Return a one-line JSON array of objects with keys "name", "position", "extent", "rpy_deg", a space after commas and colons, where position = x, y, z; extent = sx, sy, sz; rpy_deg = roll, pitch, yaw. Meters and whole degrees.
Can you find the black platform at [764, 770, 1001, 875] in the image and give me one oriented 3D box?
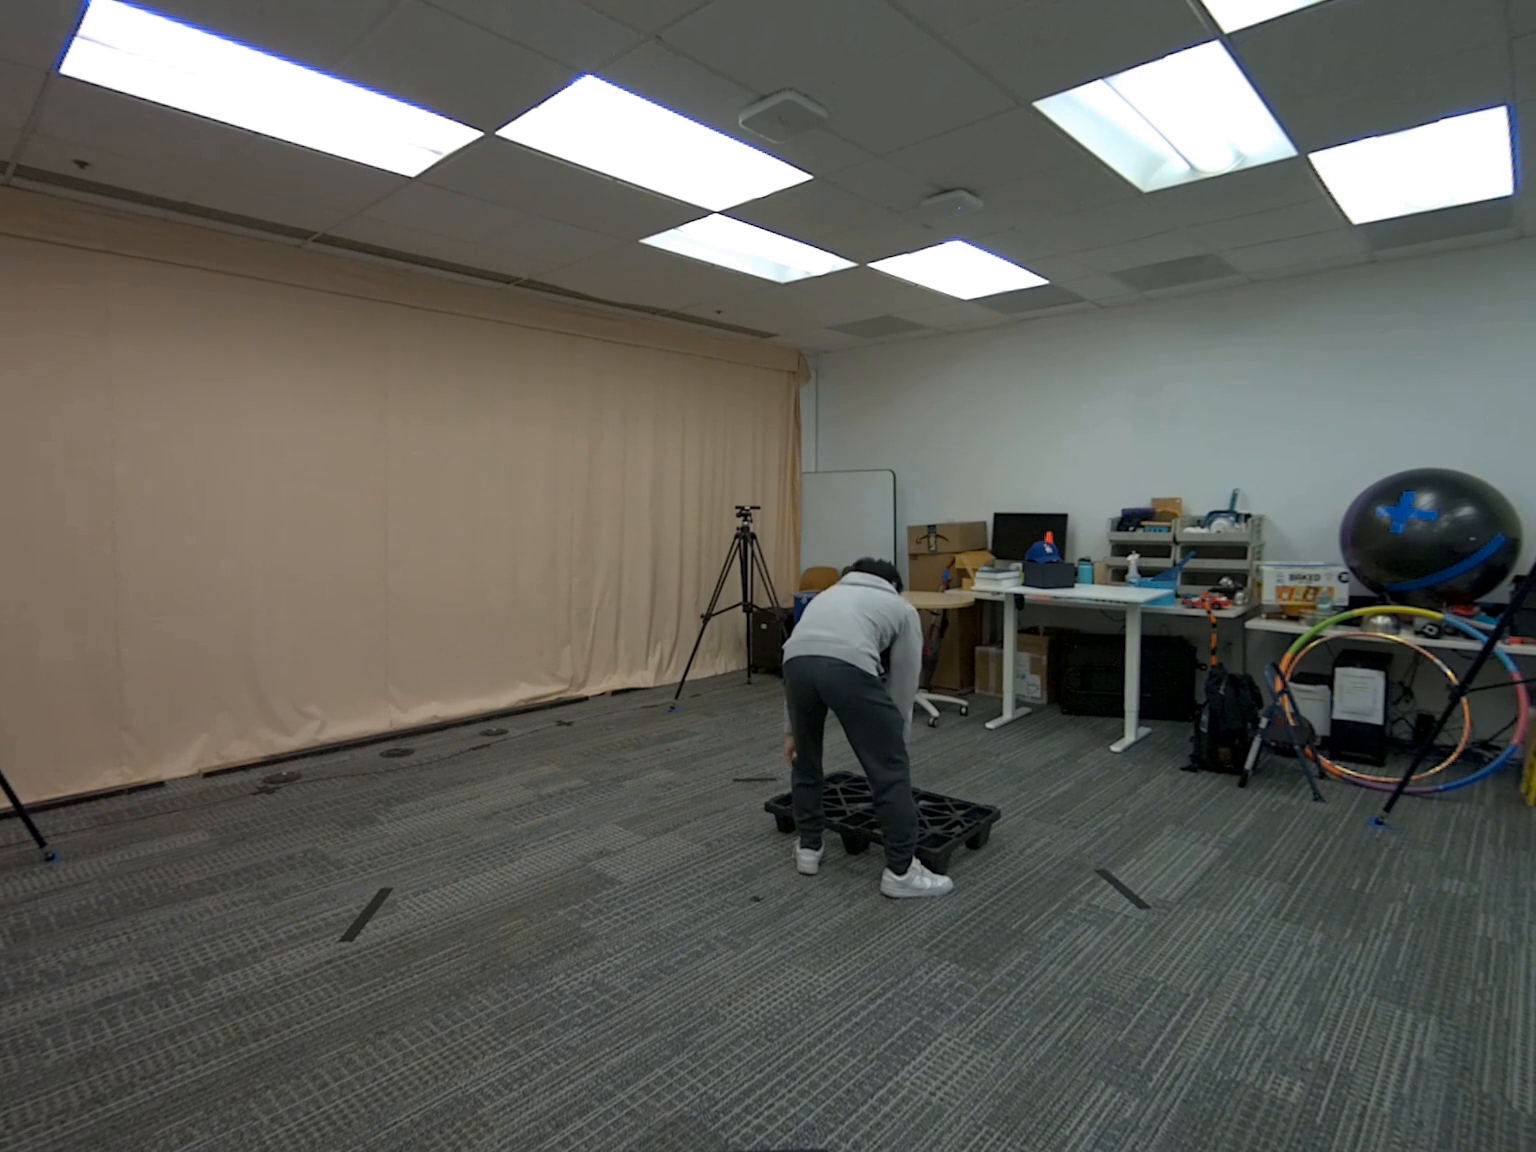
[{"name": "black platform", "position": [0.476, 1.032, 3.535], "extent": [0.832, 0.143, 0.587], "rpy_deg": [4, 6, 39]}]
